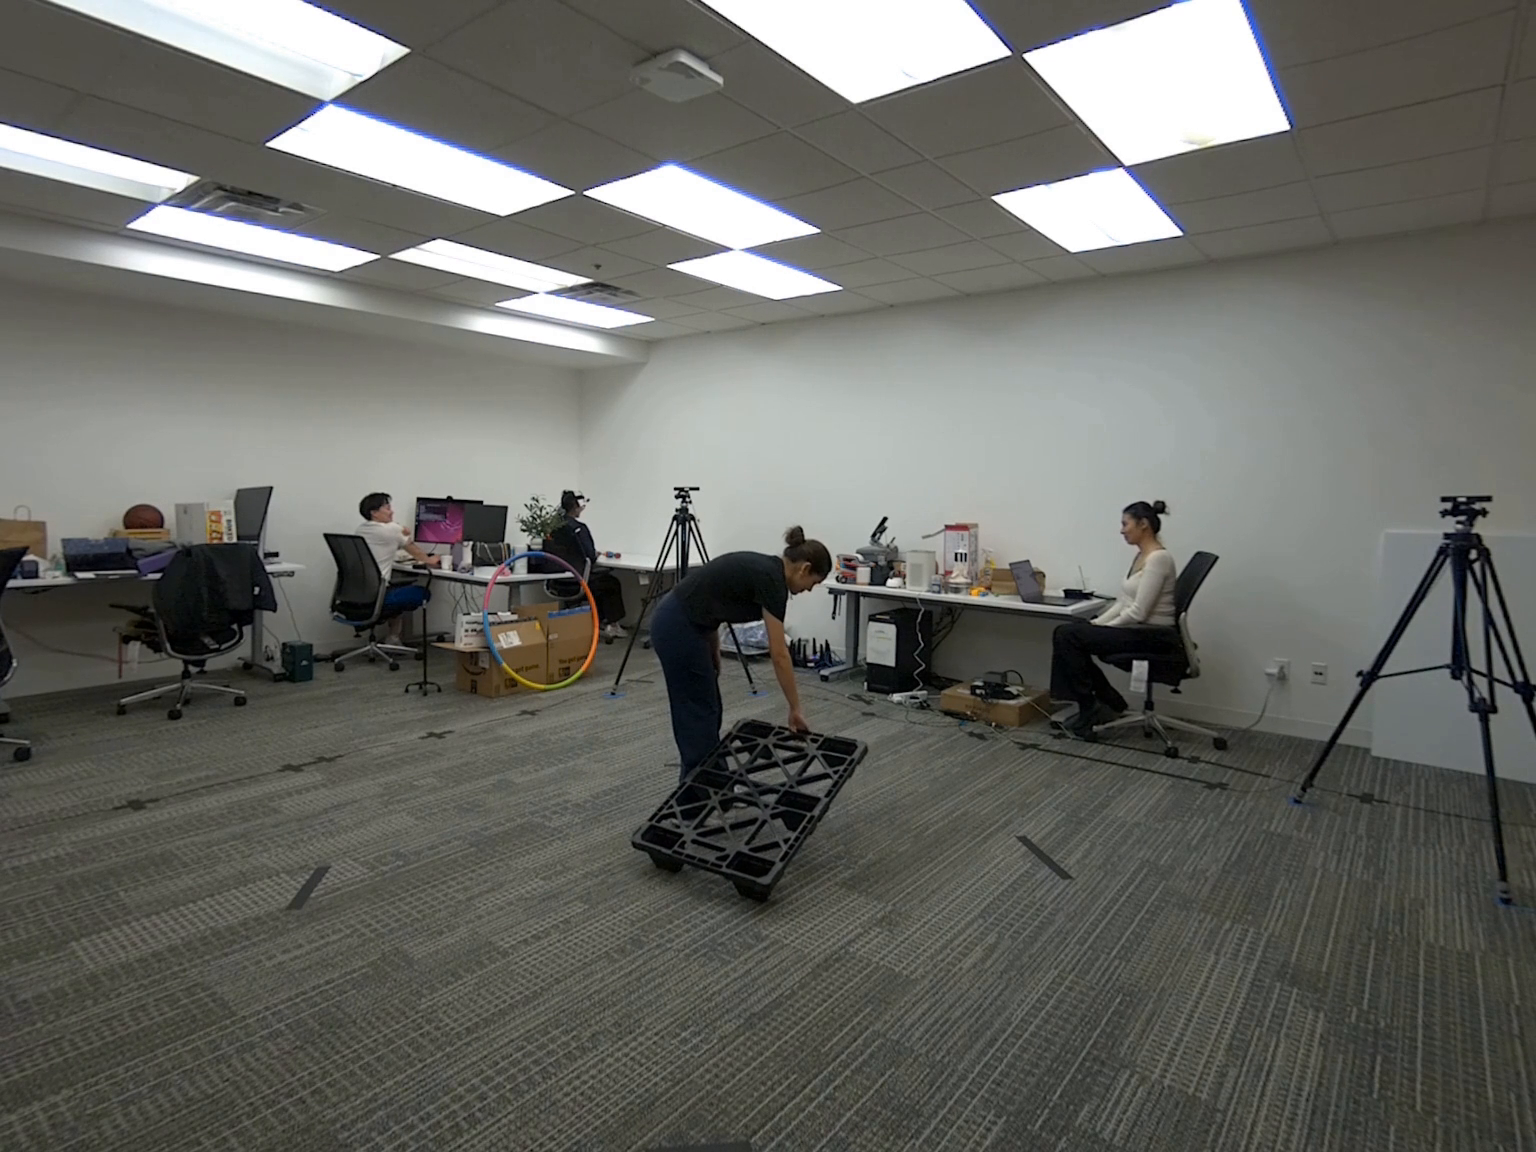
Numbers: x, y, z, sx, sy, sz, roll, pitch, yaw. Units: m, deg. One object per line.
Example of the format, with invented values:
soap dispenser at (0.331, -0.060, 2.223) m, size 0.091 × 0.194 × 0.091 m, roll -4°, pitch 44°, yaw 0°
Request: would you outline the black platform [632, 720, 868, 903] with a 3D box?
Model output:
black platform at (-0.029, 0.862, 3.245) m, size 0.624 × 0.140 × 0.799 m, roll 4°, pitch 28°, yaw 34°
